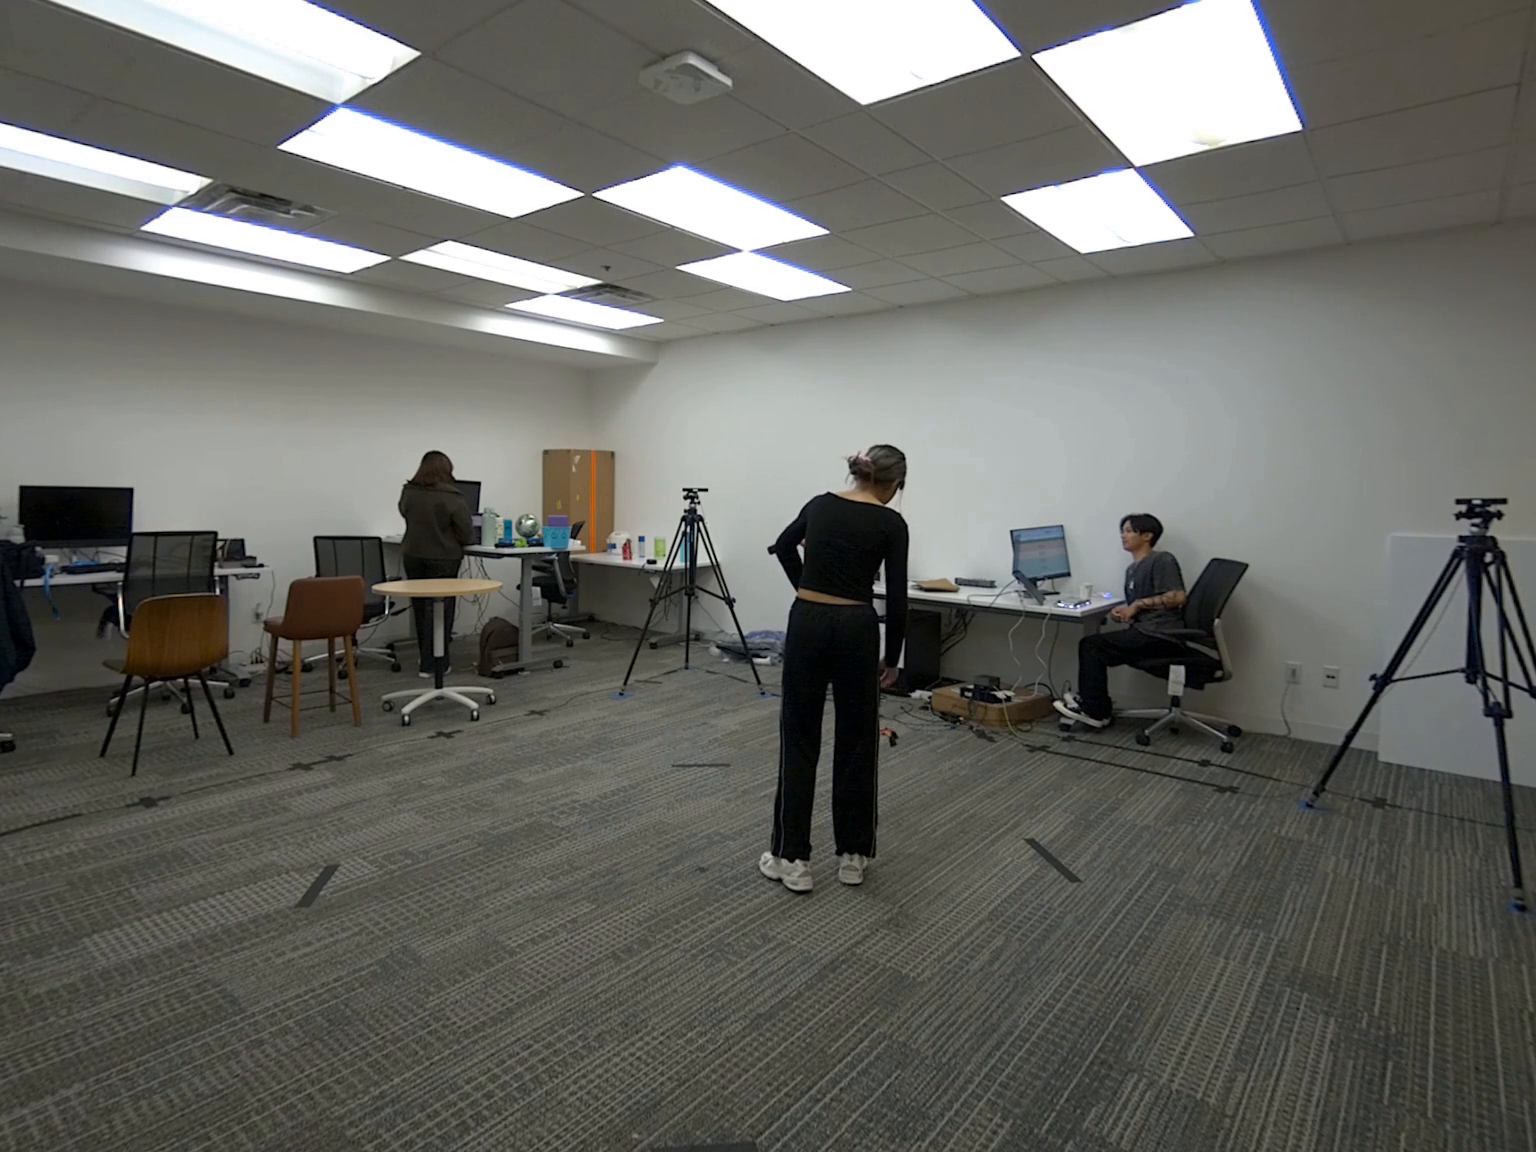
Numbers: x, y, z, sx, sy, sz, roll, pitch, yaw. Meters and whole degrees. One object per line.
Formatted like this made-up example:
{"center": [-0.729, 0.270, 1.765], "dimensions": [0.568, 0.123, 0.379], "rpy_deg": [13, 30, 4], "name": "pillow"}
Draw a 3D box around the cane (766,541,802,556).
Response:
{"center": [0.250, 0.275, 3.444], "dimensions": [0.208, 0.914, 0.149], "rpy_deg": [-22, -5, 11], "name": "cane"}
